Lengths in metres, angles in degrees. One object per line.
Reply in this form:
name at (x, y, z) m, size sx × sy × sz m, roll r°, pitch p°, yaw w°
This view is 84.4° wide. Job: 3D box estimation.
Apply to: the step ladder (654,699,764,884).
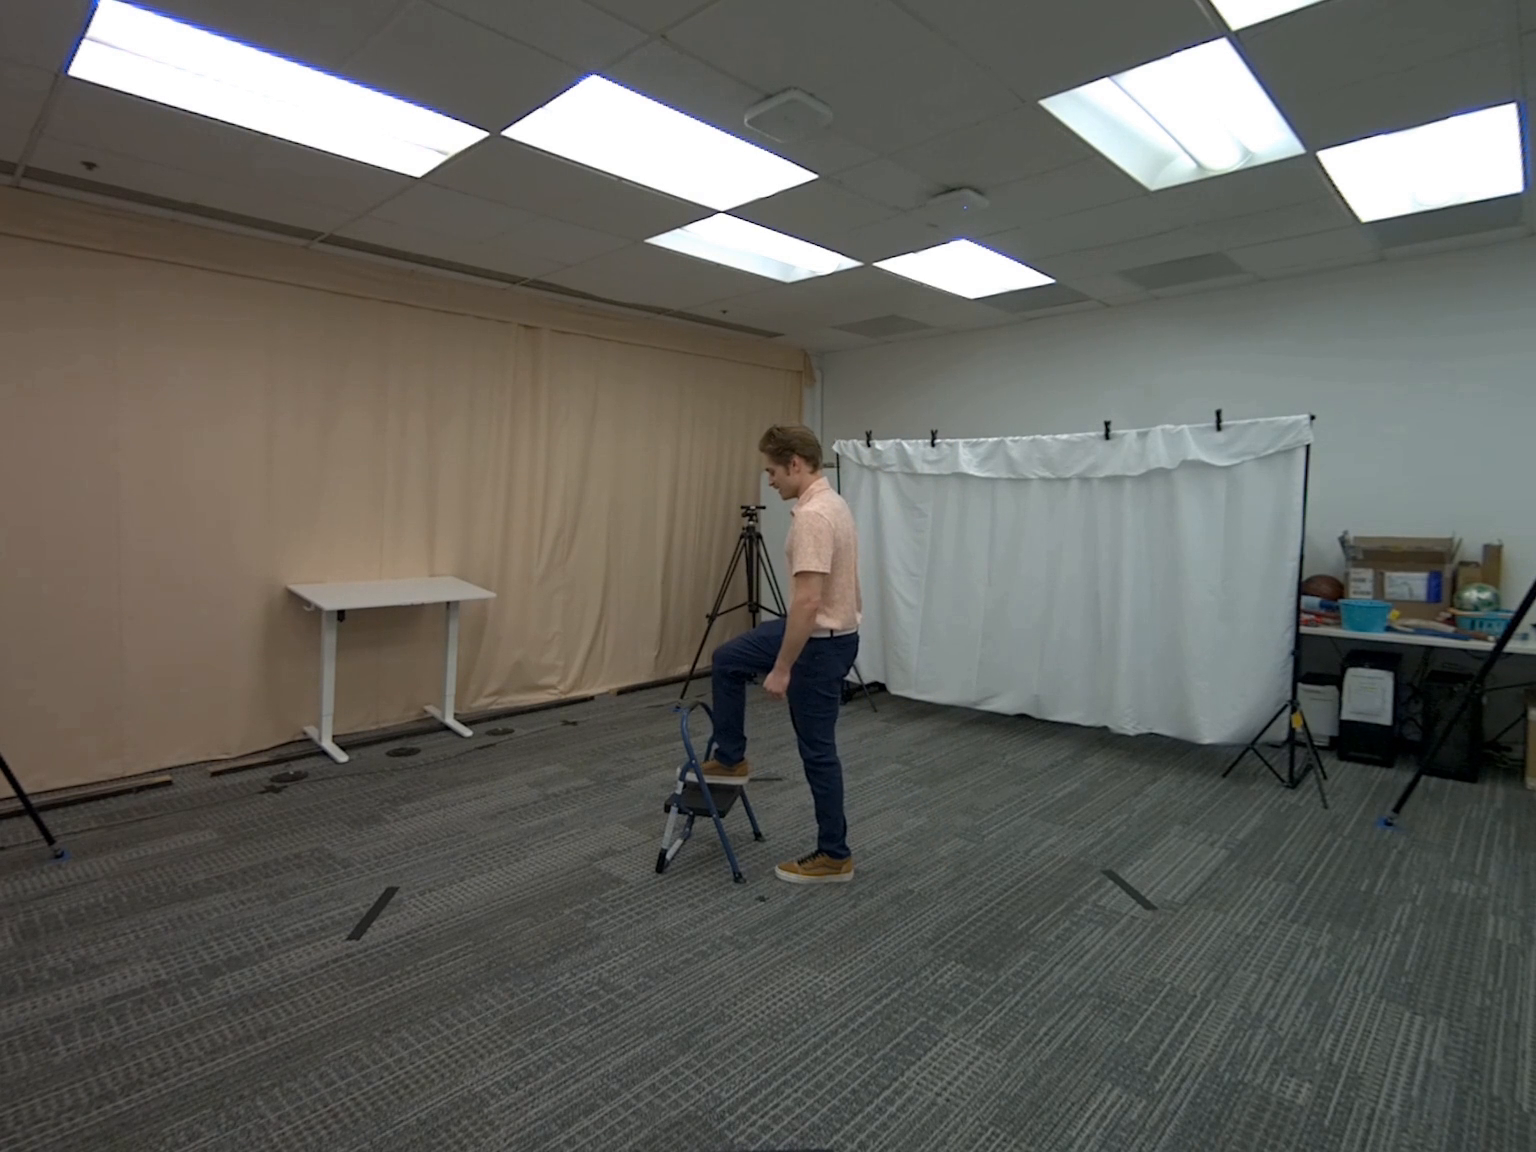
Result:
step ladder at (-0.227, 0.812, 3.340) m, size 0.354 × 0.605 × 0.425 m, roll 0°, pitch 3°, yaw 12°
